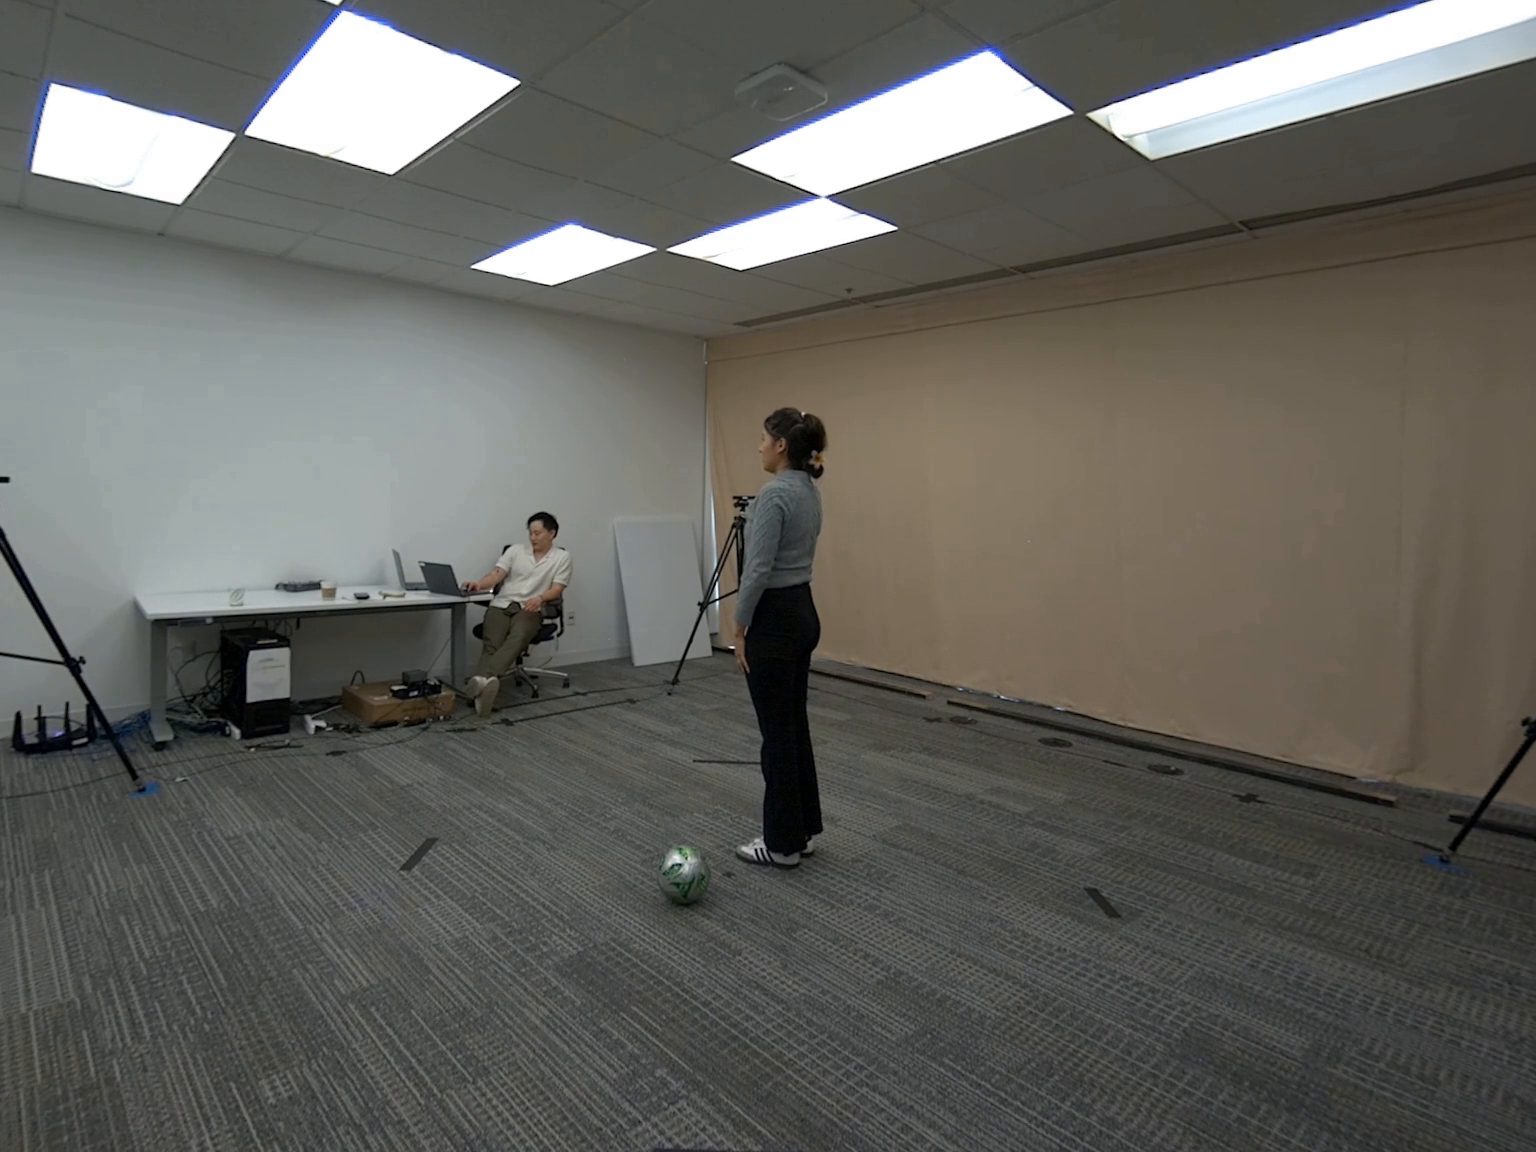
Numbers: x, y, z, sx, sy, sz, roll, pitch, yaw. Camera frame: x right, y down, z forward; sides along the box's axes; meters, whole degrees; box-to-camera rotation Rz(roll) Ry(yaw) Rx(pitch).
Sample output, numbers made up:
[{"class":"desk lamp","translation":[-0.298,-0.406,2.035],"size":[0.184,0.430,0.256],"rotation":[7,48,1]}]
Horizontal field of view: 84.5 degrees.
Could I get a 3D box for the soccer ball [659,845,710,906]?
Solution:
[{"class":"soccer ball","translation":[-0.297,1.022,2.886],"size":[0.187,0.187,0.188],"rotation":[1,4,-1]}]
